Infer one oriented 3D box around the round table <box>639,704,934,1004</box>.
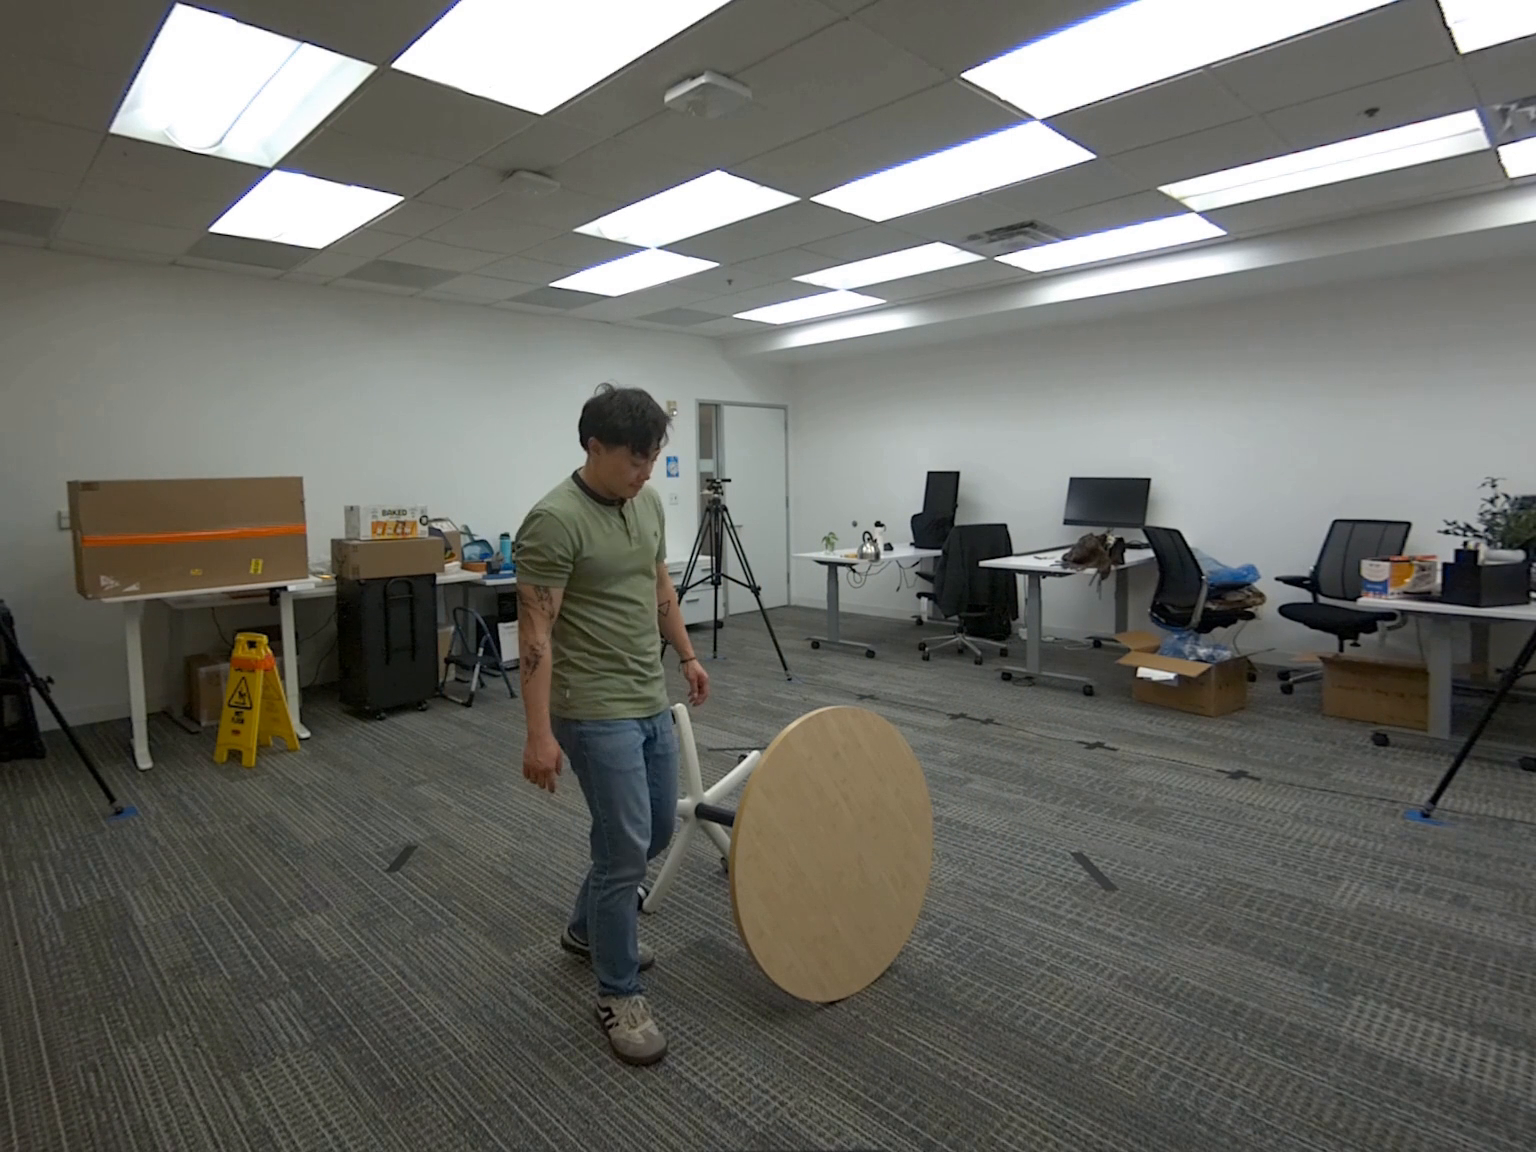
[{"bbox_3d":[-0.049,0.765,2.652,0.744,0.765,0.814,-5,-1,-40],"label":"round table"}]
